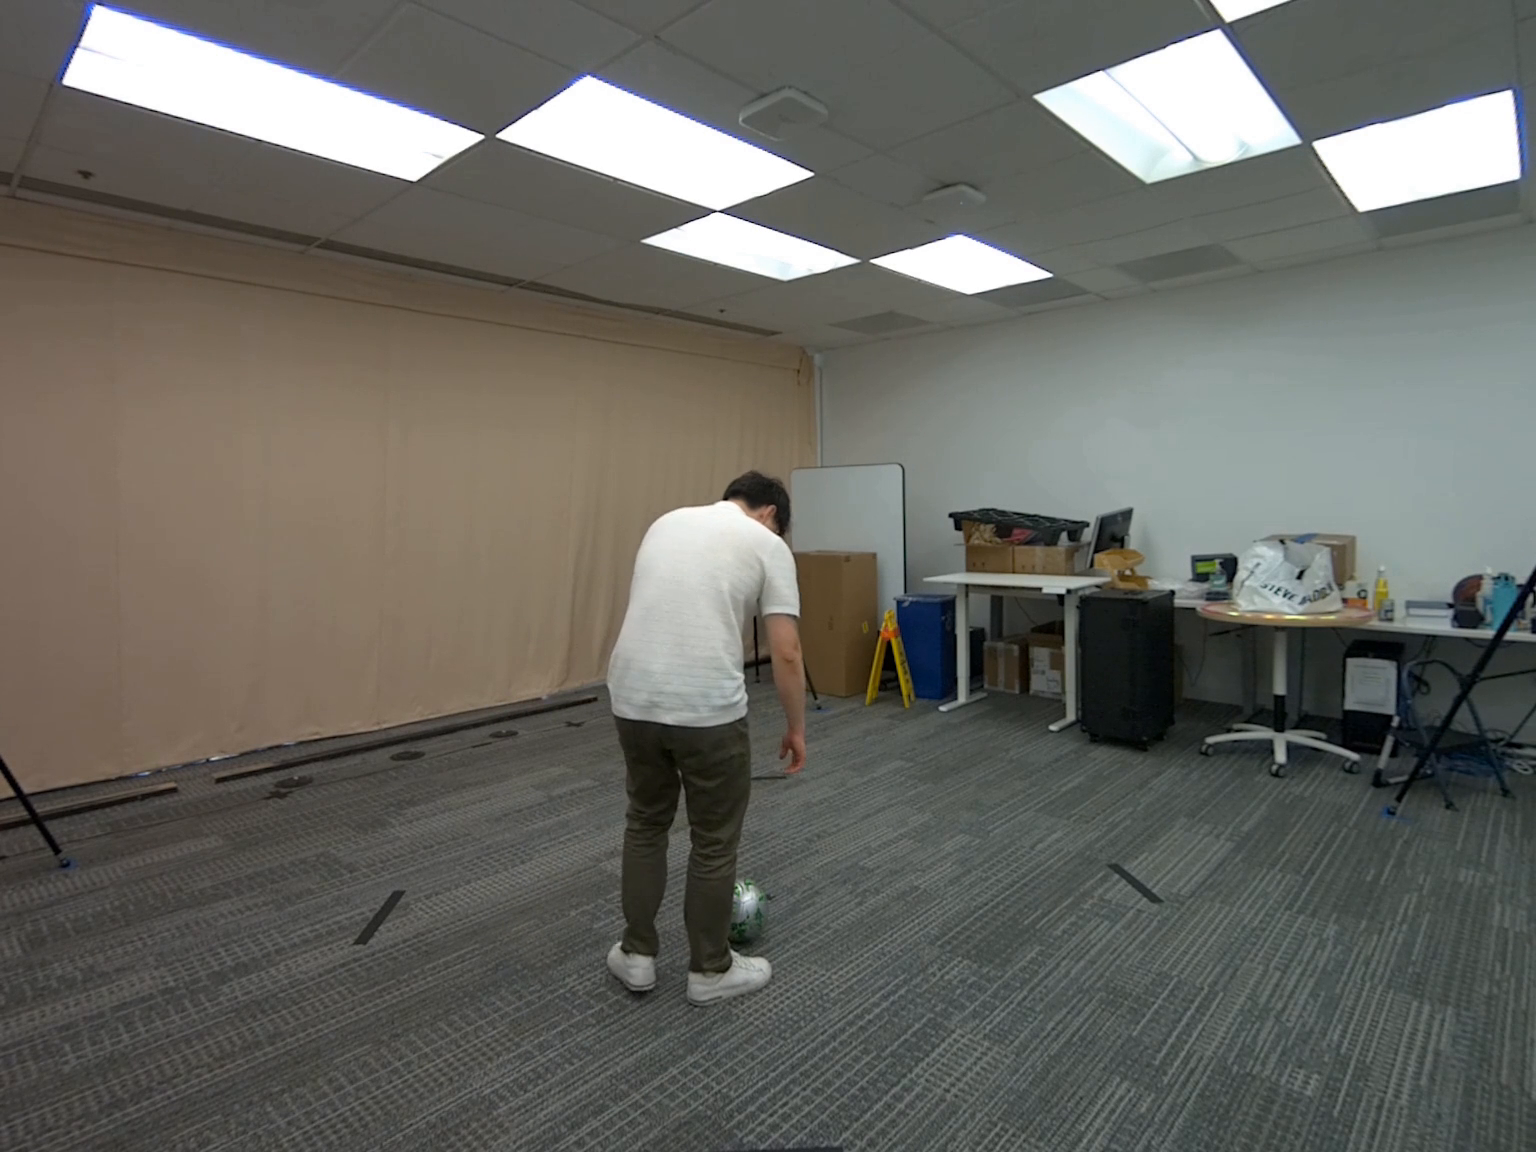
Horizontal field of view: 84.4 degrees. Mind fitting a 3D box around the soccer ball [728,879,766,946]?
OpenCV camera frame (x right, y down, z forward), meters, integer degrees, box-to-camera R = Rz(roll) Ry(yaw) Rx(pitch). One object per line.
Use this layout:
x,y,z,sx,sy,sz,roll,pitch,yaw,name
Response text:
-0.087,1.071,2.705,0.187,0.187,0.188,-1,4,-2,soccer ball
